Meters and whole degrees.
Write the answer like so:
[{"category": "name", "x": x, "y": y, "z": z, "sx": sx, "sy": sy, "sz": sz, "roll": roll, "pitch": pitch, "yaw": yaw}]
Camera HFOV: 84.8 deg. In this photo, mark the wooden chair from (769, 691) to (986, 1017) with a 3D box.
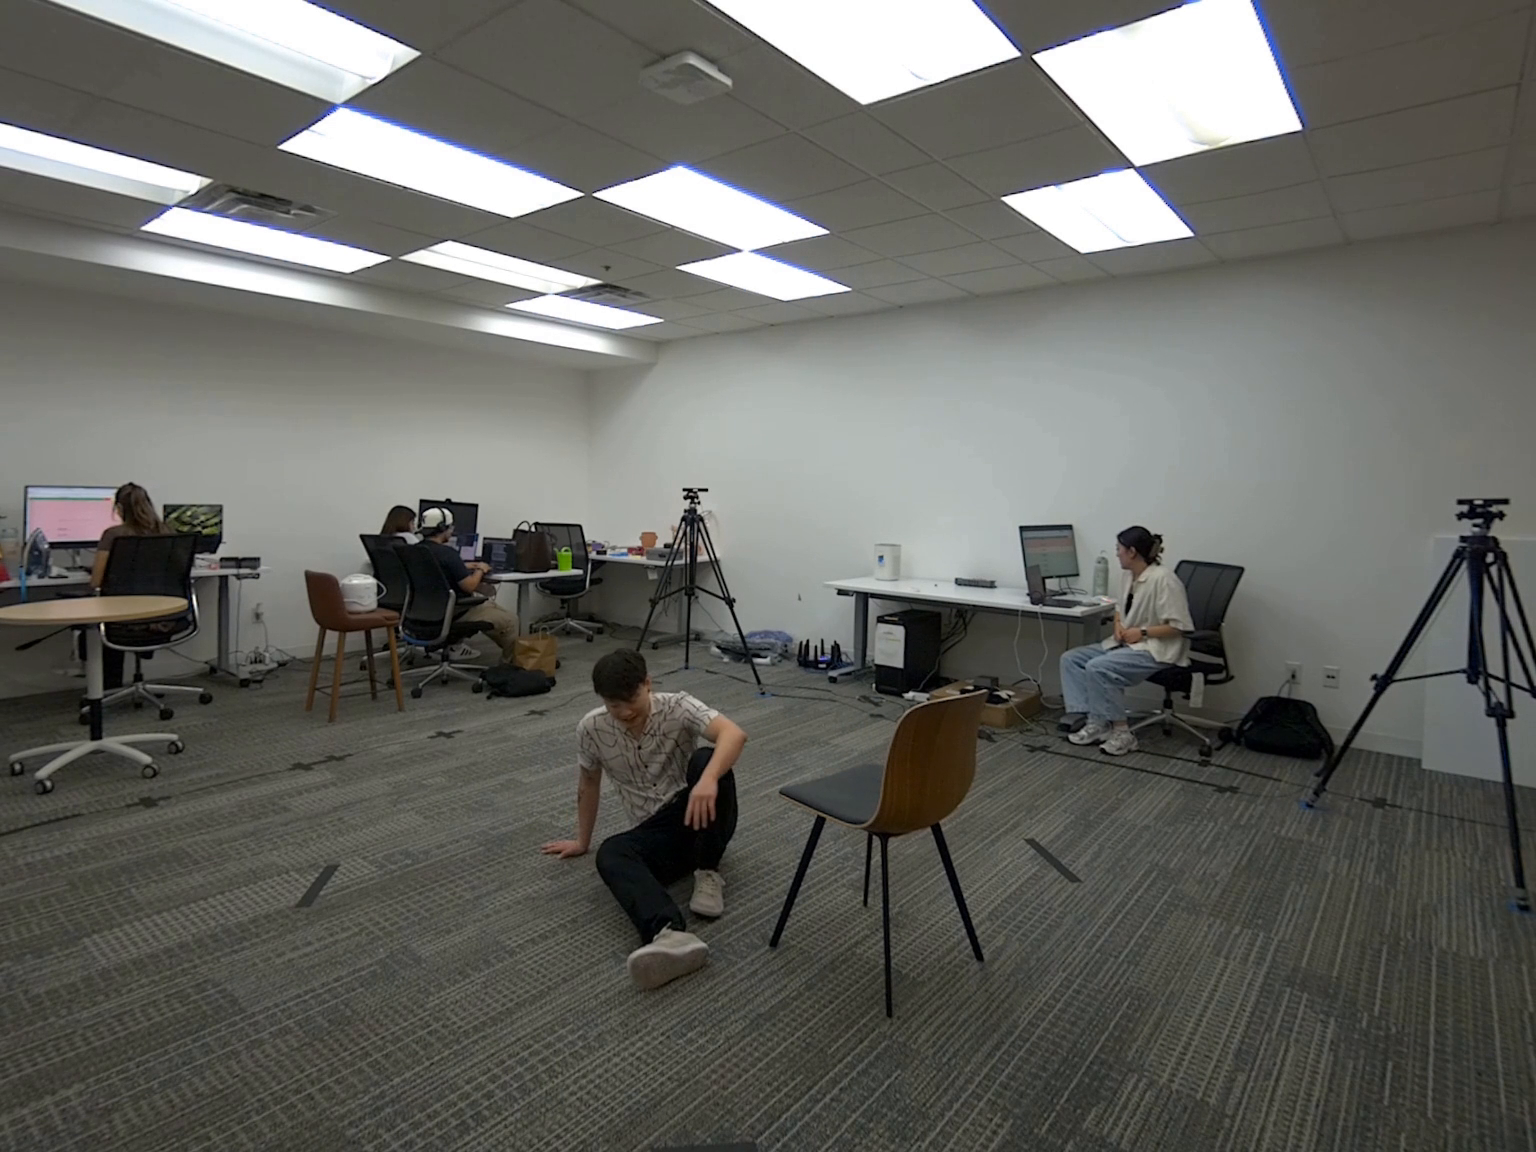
[{"category": "wooden chair", "x": 0.321, "y": 0.710, "z": 2.543, "sx": 0.463, "sy": 0.872, "sz": 0.542, "roll": -2, "pitch": 9, "yaw": -43}]
